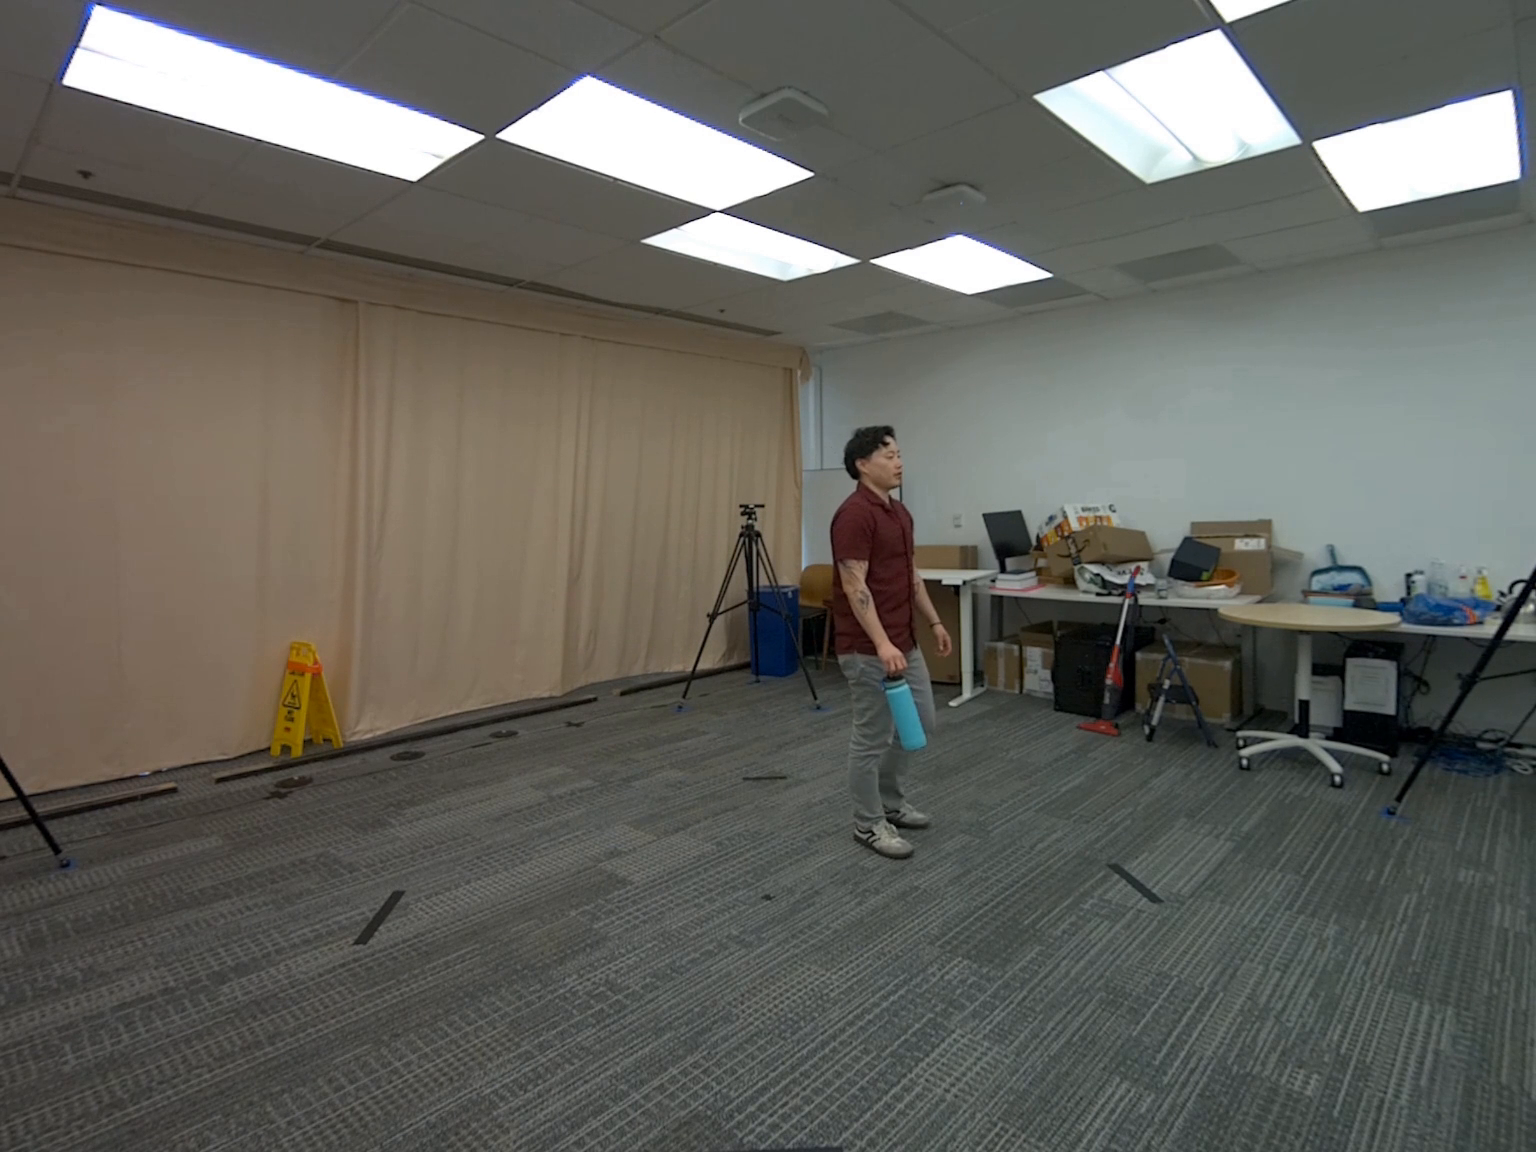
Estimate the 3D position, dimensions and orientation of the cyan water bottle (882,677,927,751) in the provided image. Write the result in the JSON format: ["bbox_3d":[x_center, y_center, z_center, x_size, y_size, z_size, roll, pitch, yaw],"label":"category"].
[{"bbox_3d":[0.491,0.487,3.083,0.092,0.283,0.092,-17,0,-1],"label":"cyan water bottle"}]
